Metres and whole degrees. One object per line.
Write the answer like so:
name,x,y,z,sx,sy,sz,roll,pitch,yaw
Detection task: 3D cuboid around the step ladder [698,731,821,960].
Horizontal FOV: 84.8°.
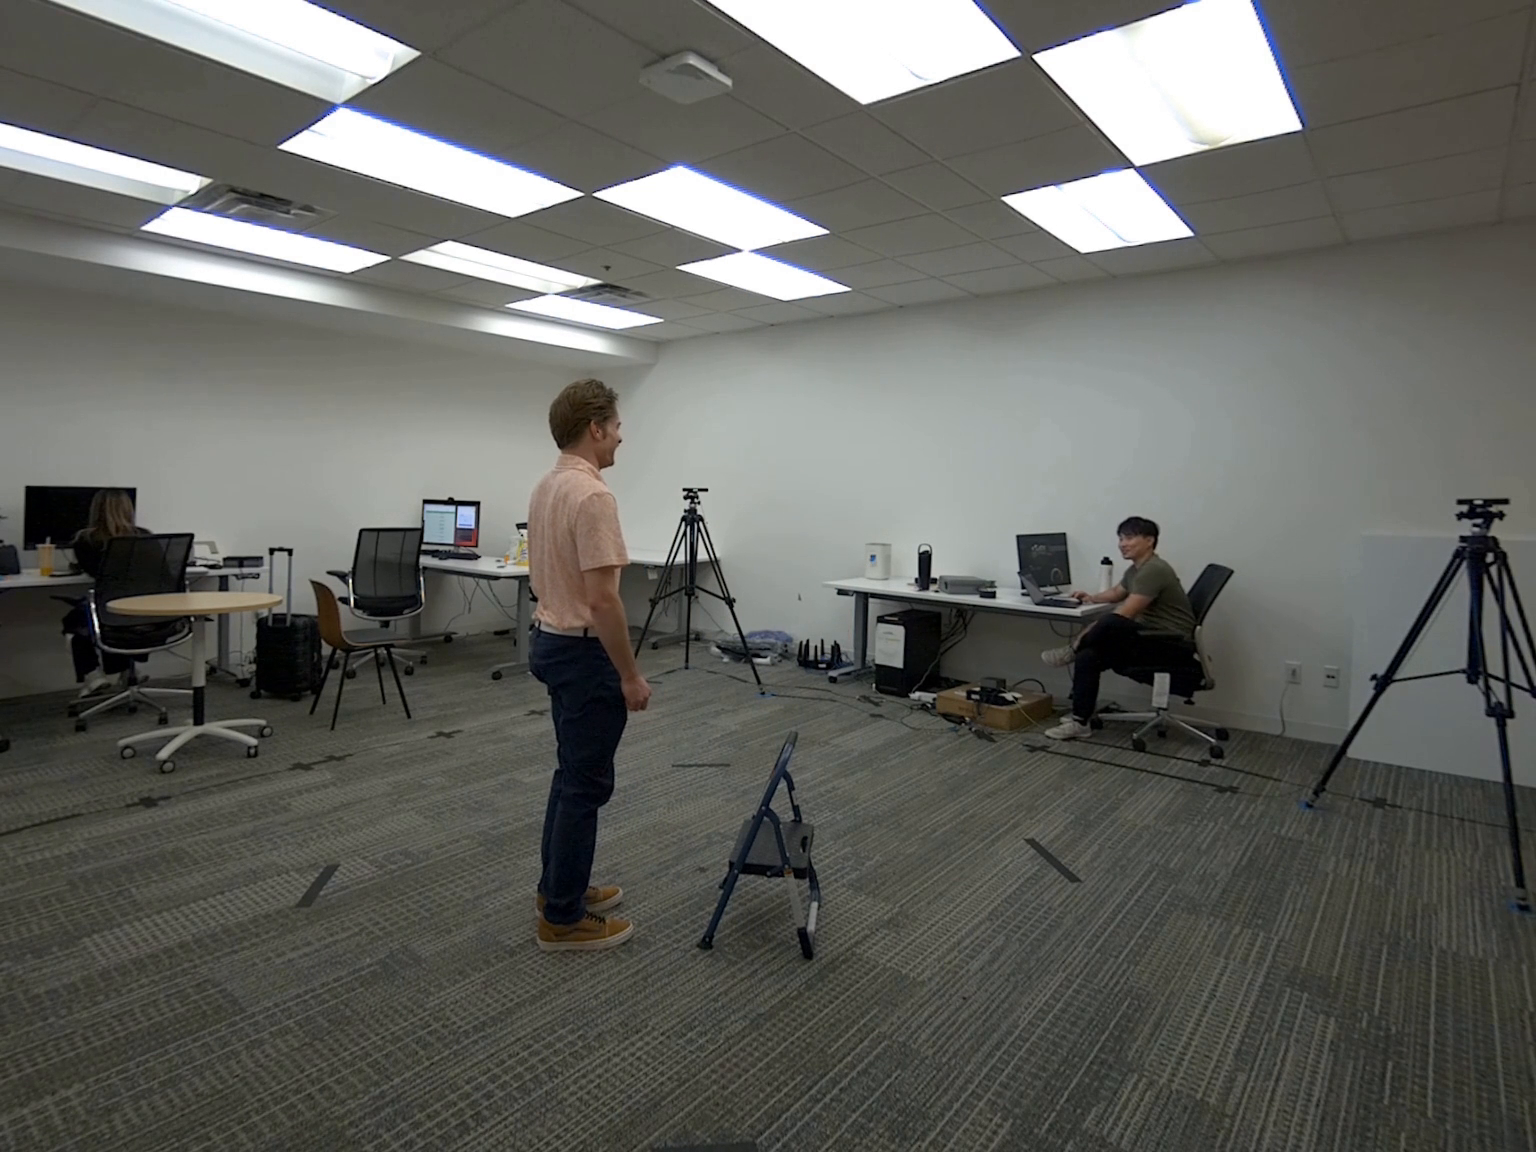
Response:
step ladder,-0.014,0.811,2.731,0.353,0.604,0.428,2,4,8
